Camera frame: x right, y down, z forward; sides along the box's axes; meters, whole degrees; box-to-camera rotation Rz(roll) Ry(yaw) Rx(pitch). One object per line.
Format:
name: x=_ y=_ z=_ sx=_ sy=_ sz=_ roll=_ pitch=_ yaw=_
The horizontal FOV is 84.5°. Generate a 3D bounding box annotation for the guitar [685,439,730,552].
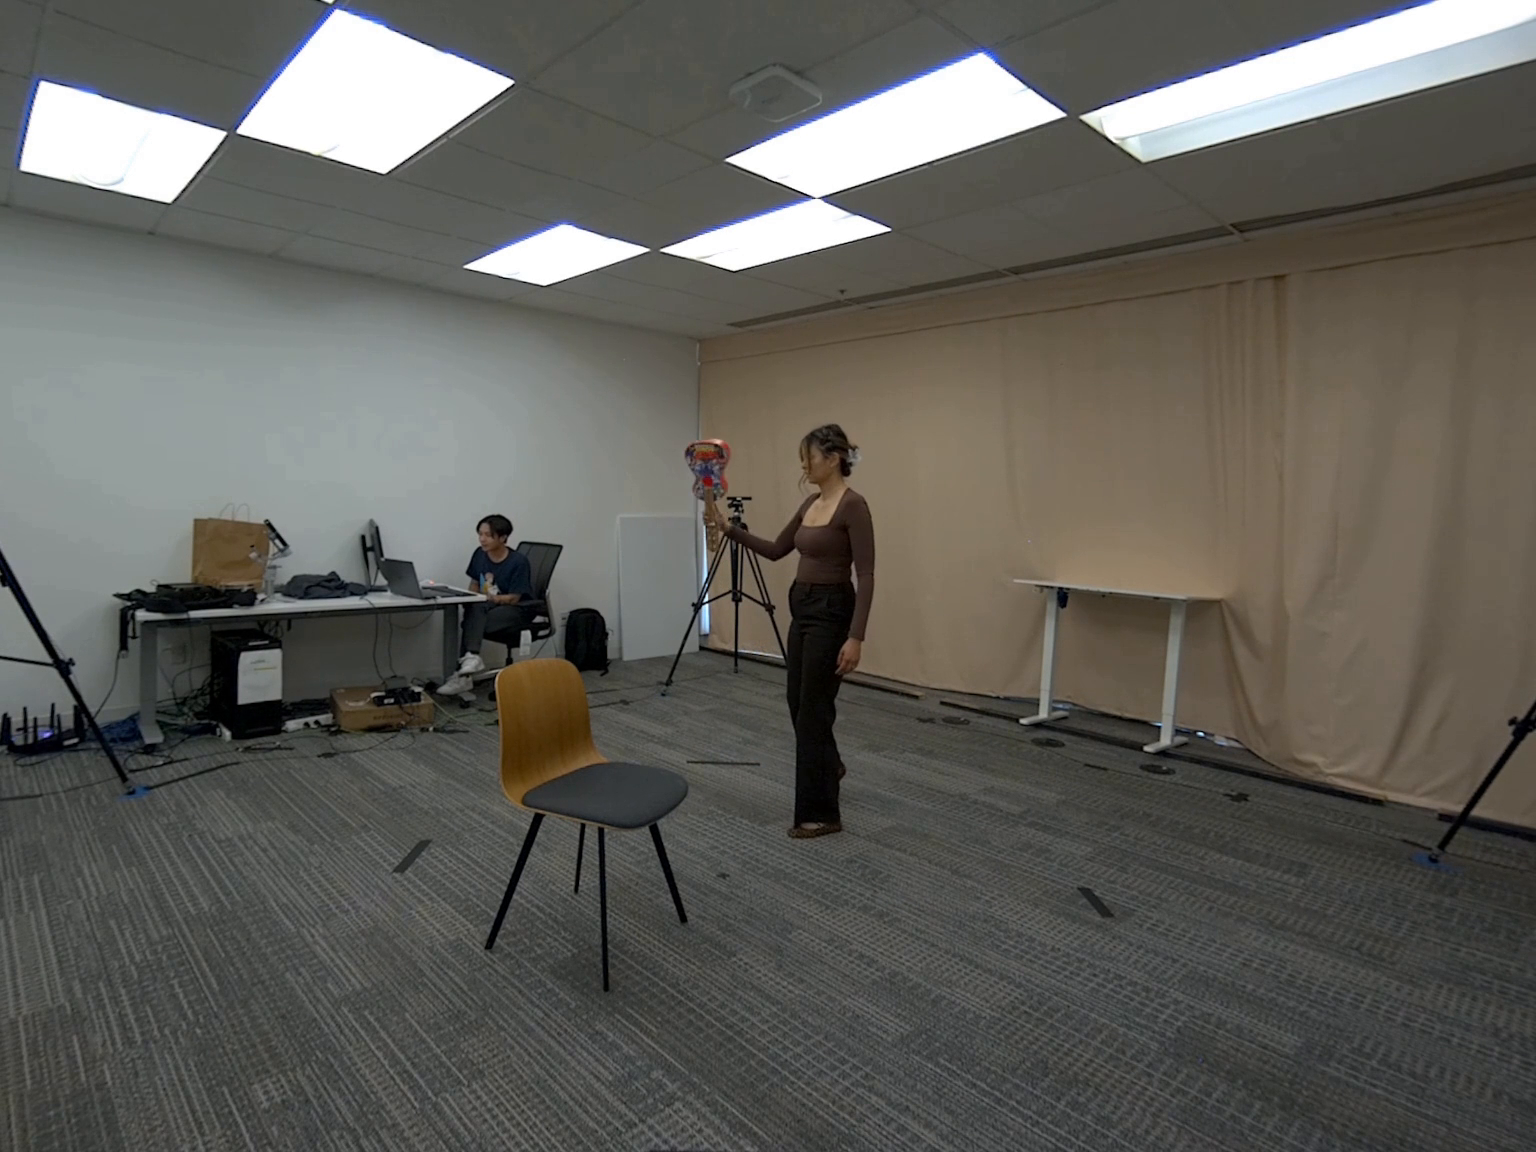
guitar: x=-0.286 y=-0.349 z=3.715 sx=0.195 sy=0.492 sz=0.071 roll=10 pitch=18 yaw=10
